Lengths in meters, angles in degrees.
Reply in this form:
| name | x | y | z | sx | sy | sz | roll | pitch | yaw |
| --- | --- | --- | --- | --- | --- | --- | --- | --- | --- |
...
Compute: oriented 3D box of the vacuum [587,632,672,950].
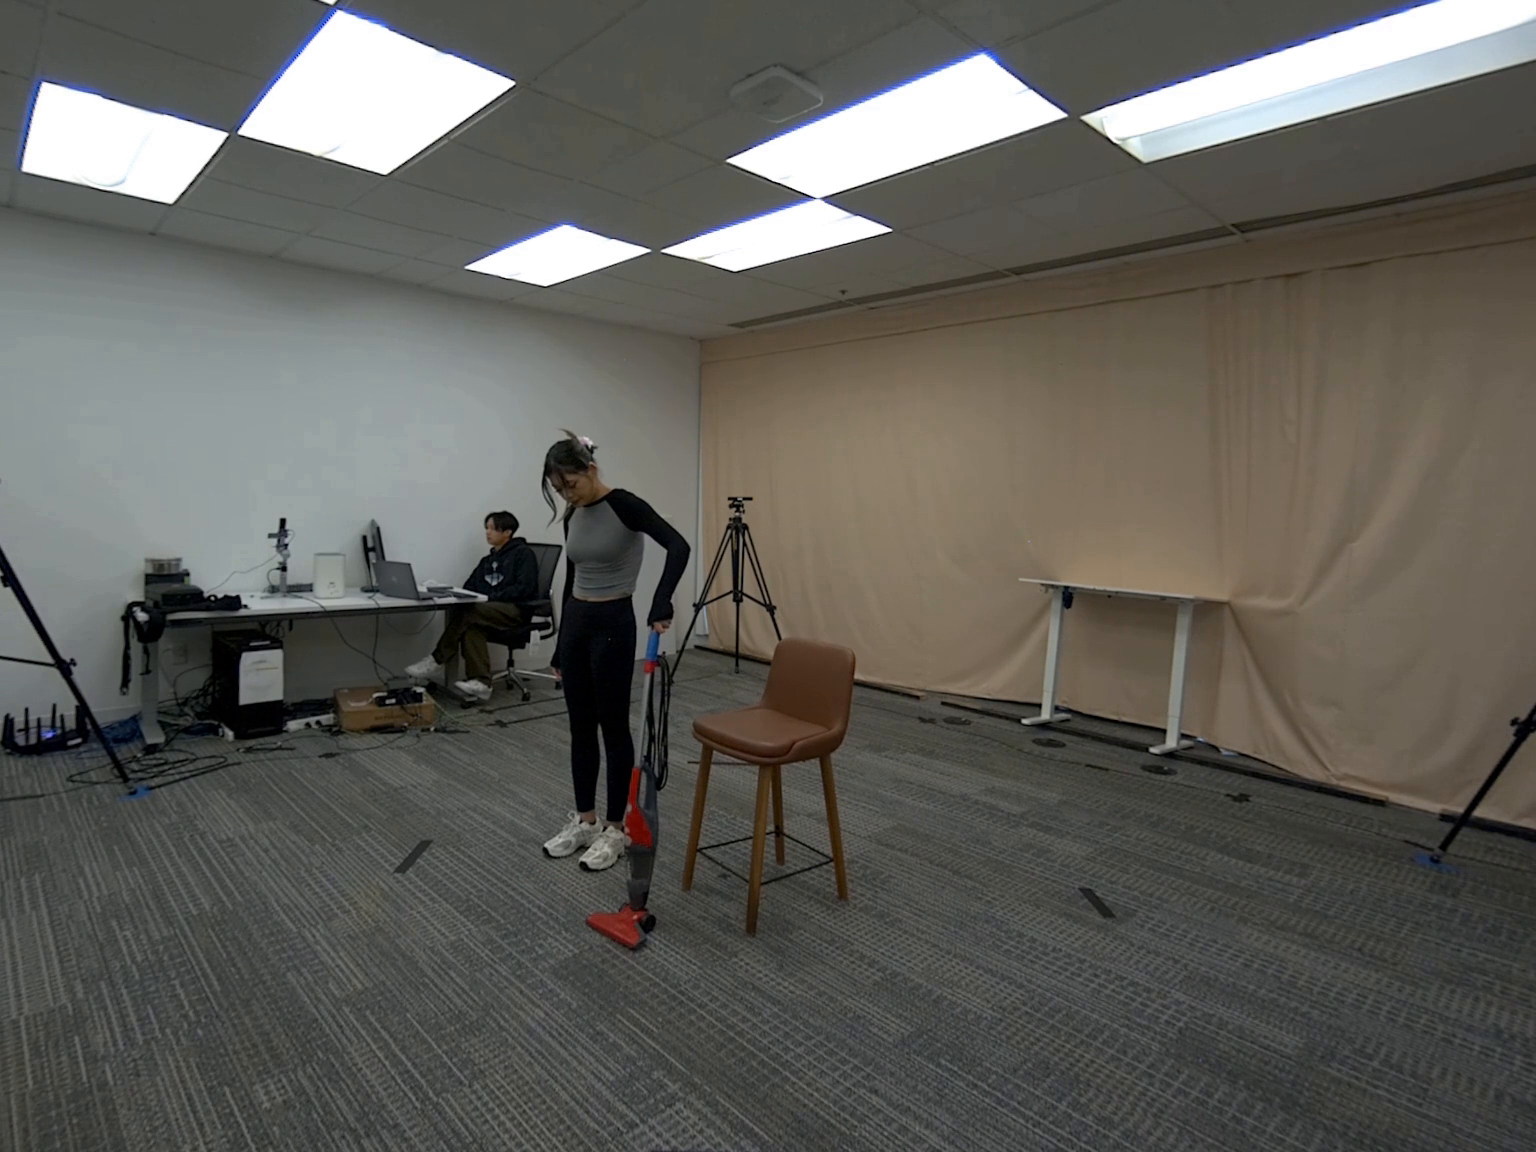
| name | x | y | z | sx | sy | sz | roll | pitch | yaw |
| --- | --- | --- | --- | --- | --- | --- | --- | --- | --- |
| vacuum | -0.398 | 0.627 | 2.757 | 0.140 | 1.054 | 0.258 | 13 | -10 | -43 |
